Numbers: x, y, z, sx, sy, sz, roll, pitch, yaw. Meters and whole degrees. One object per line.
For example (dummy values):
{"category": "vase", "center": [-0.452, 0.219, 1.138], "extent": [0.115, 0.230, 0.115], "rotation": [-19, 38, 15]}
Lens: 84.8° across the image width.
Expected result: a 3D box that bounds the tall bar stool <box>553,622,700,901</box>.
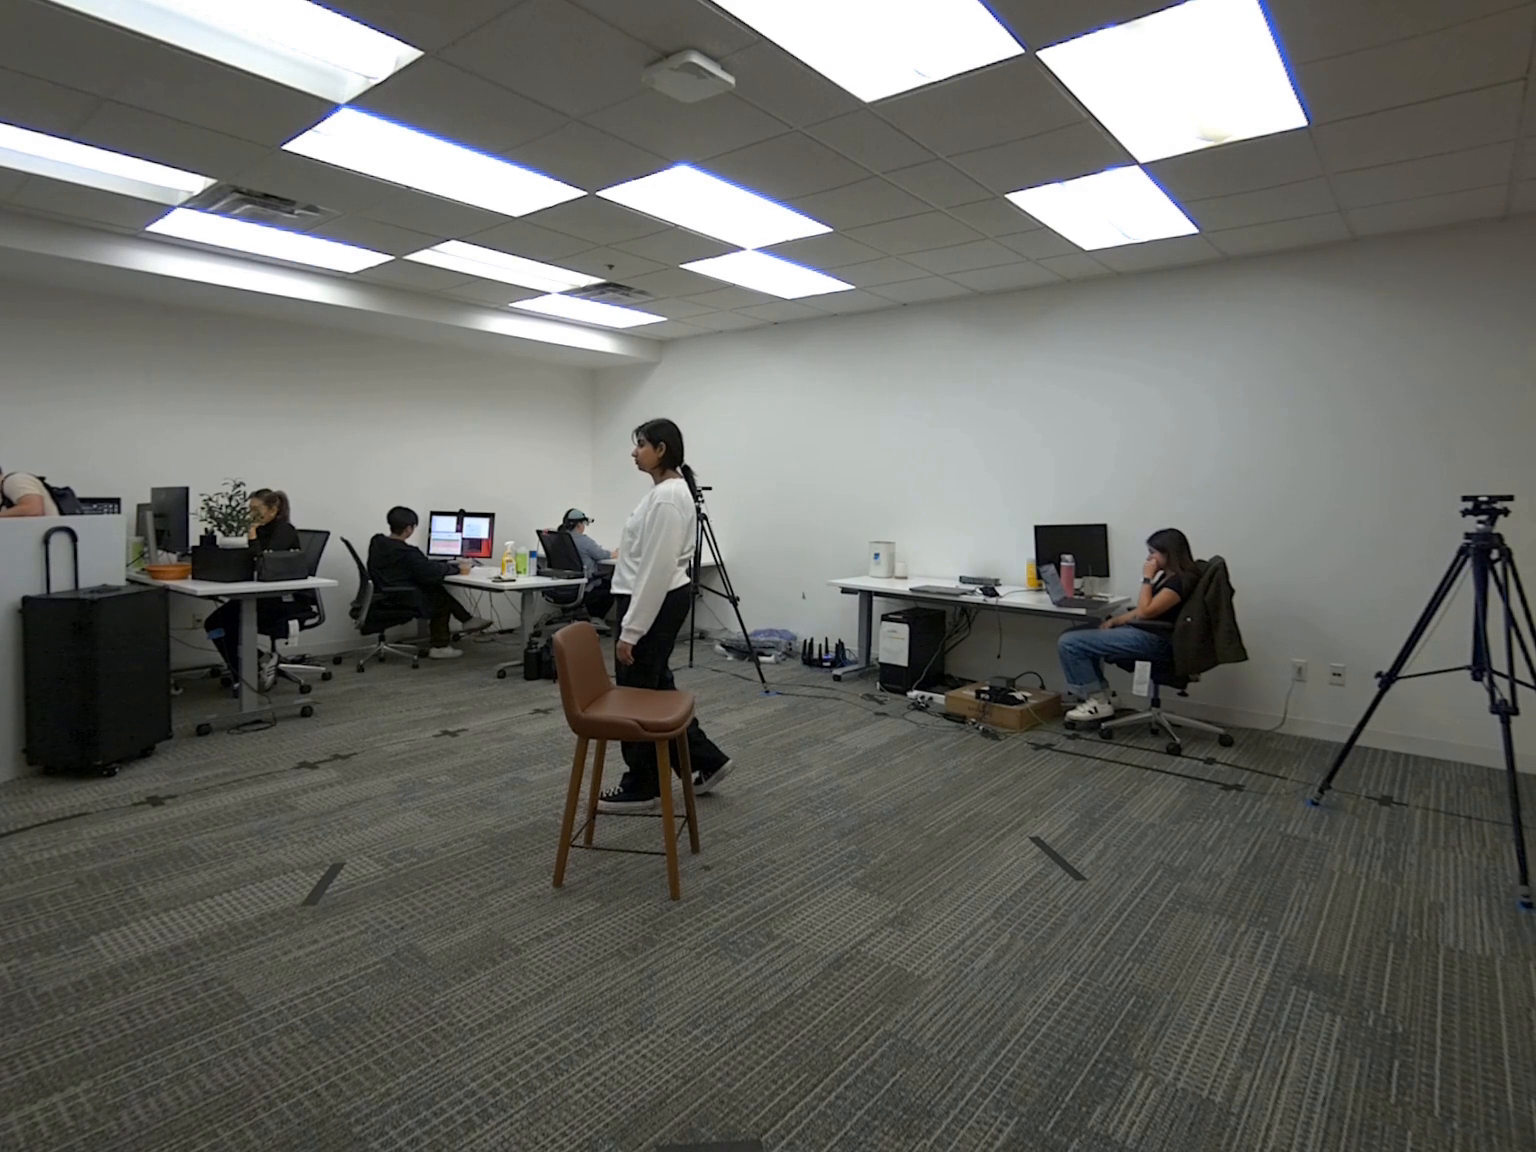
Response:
{"category": "tall bar stool", "center": [-0.508, 0.631, 3.069], "extent": [0.473, 0.888, 0.453], "rotation": [0, 2, 9]}
